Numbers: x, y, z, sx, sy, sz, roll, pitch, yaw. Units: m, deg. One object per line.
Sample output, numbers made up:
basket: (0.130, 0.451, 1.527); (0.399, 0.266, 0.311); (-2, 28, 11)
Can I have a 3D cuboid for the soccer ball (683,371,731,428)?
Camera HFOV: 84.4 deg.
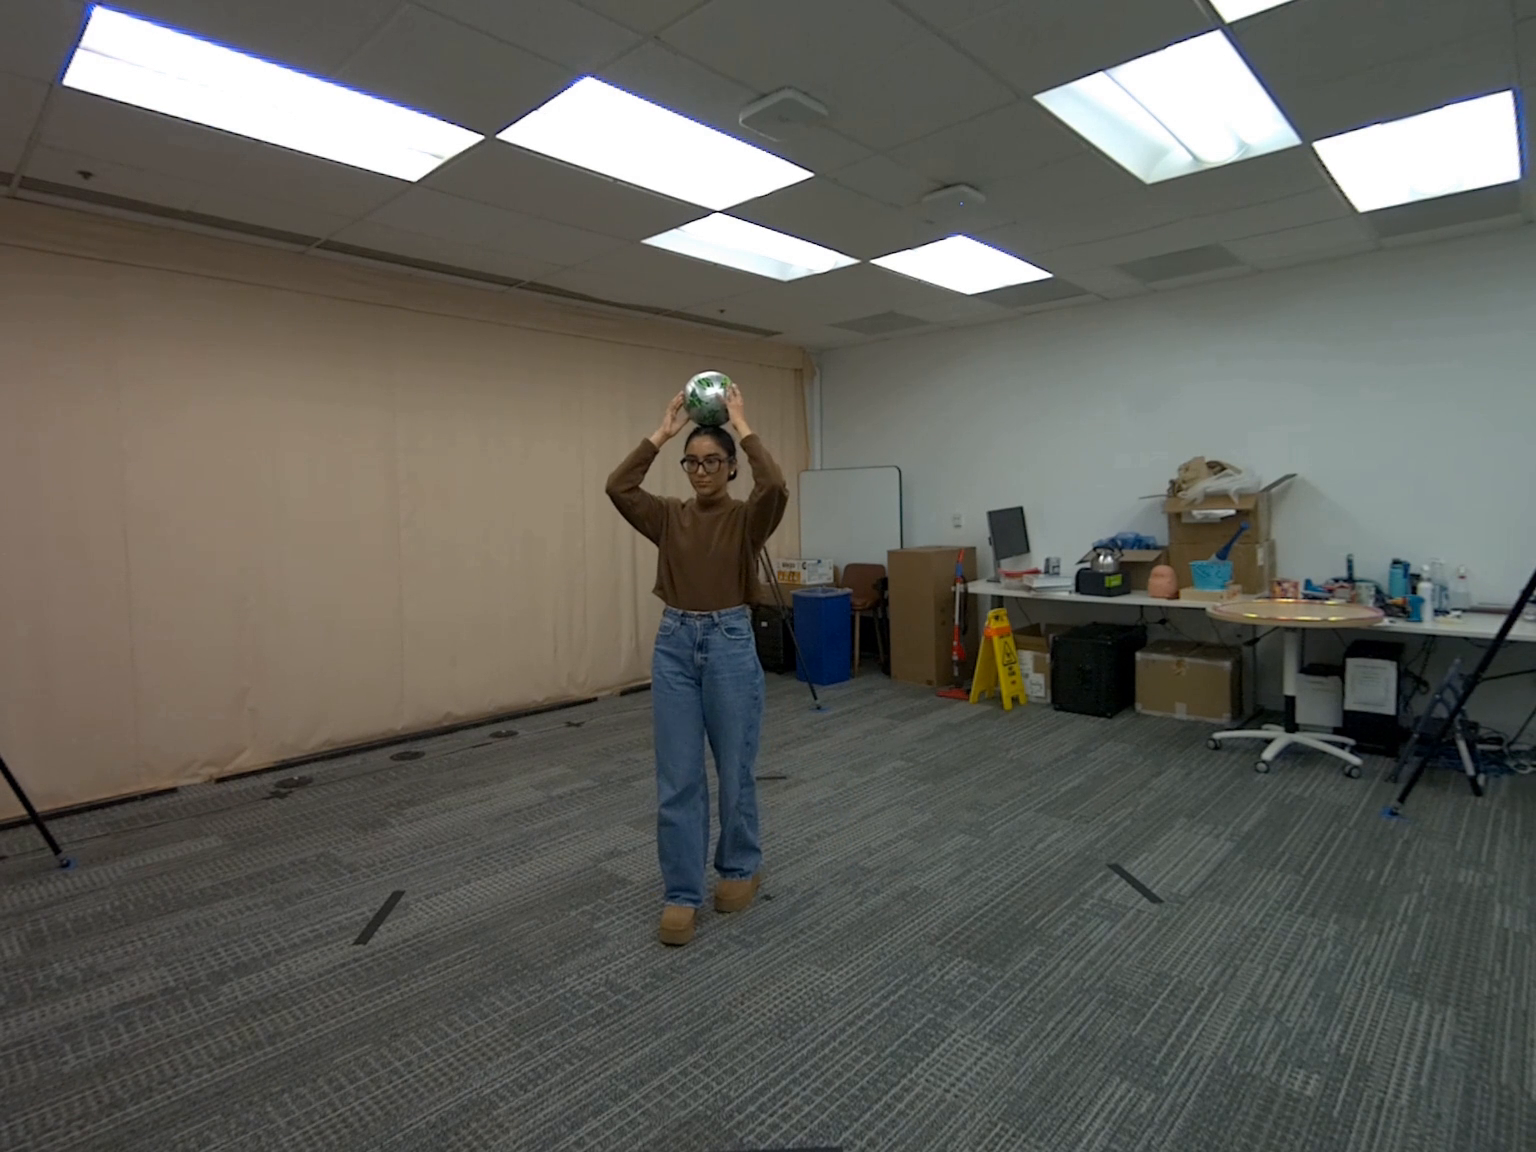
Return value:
soccer ball: (-0.189, -0.584, 2.806); (0.187, 0.187, 0.188); (-1, 4, -2)
